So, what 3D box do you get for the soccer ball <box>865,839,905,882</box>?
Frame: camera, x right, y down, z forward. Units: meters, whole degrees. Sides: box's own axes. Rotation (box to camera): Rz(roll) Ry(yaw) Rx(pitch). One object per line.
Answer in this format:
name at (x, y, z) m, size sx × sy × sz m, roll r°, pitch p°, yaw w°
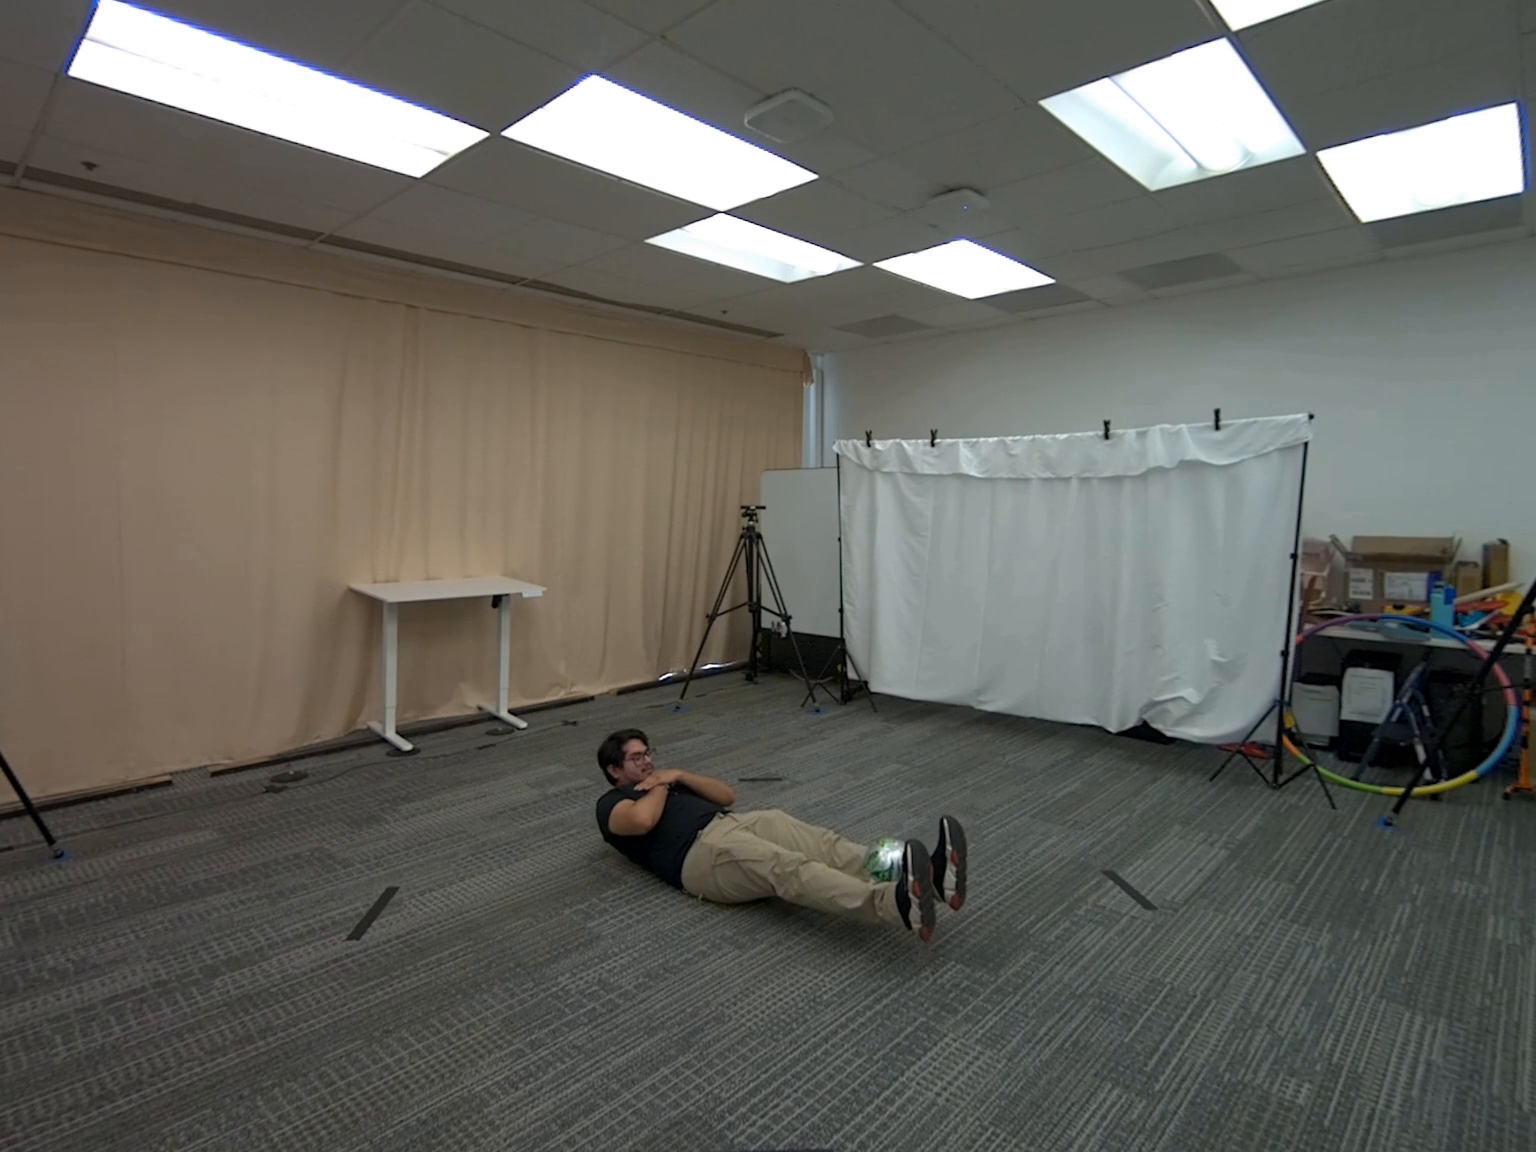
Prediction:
soccer ball at (0.404, 0.936, 2.659) m, size 0.187 × 0.187 × 0.188 m, roll 0°, pitch 4°, yaw -2°
